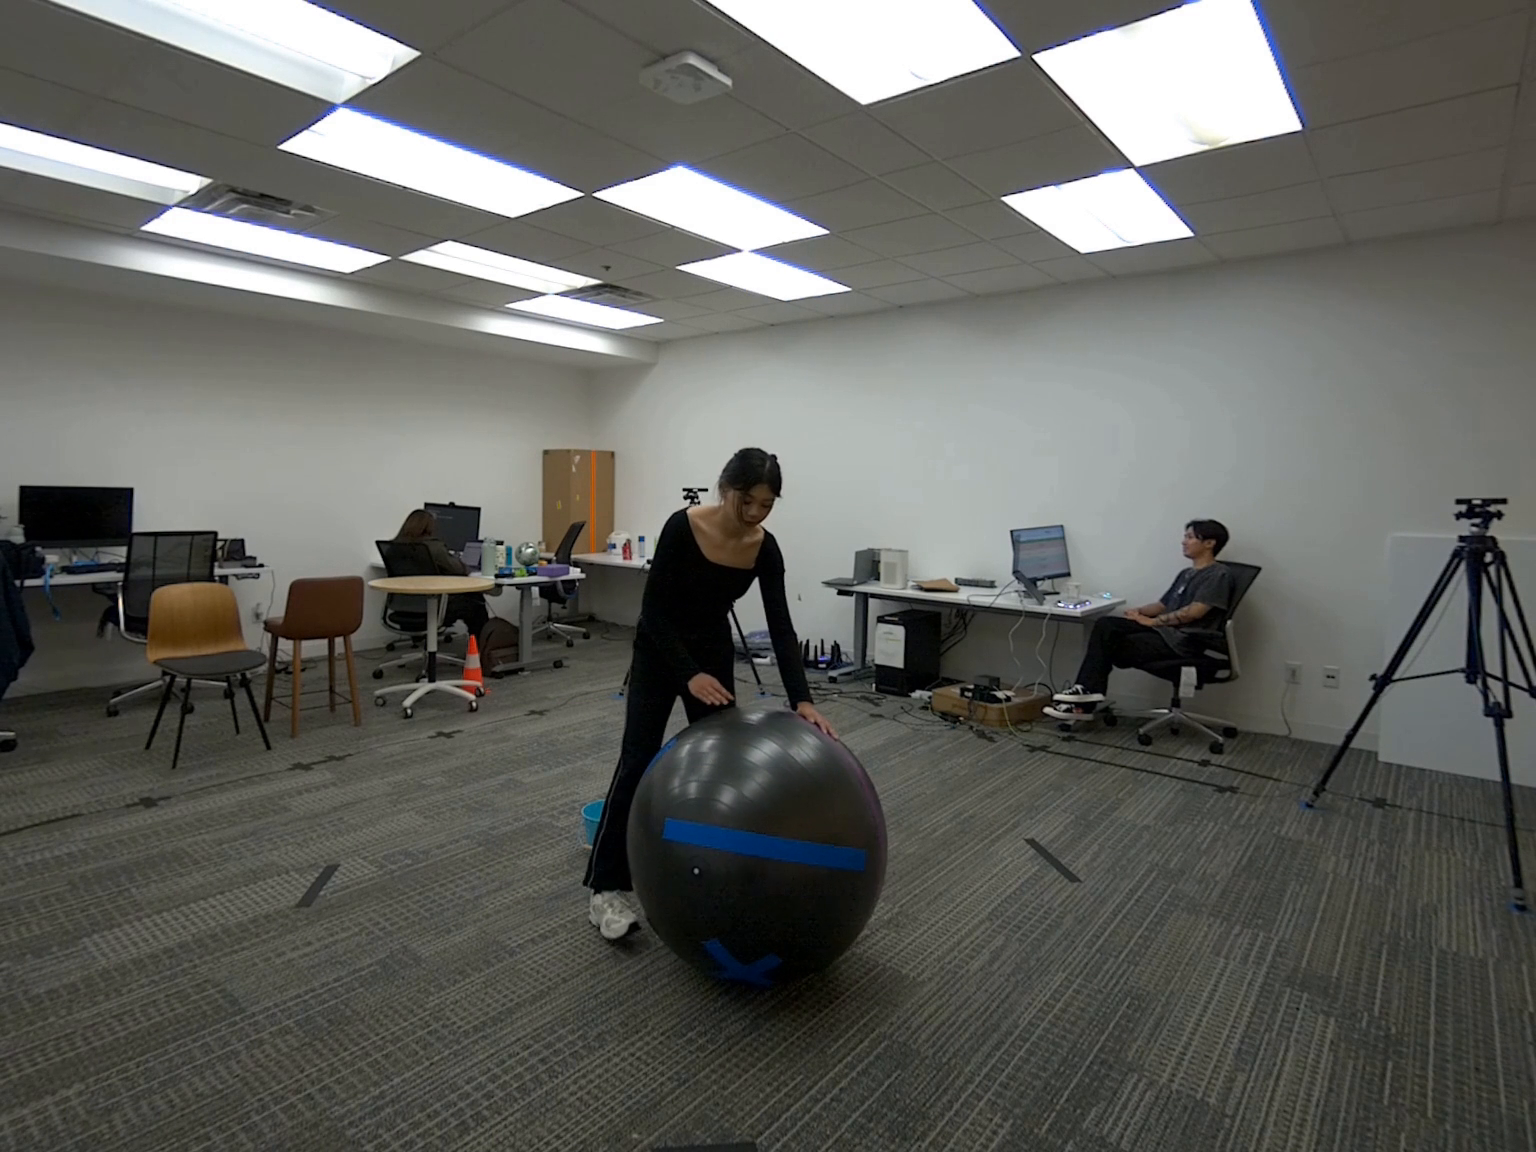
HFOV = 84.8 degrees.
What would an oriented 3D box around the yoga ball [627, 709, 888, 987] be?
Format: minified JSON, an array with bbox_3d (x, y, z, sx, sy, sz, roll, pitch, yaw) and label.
[{"bbox_3d":[-0.040,0.768,2.478,0.757,0.755,0.762,1,4,-2],"label":"yoga ball"}]
